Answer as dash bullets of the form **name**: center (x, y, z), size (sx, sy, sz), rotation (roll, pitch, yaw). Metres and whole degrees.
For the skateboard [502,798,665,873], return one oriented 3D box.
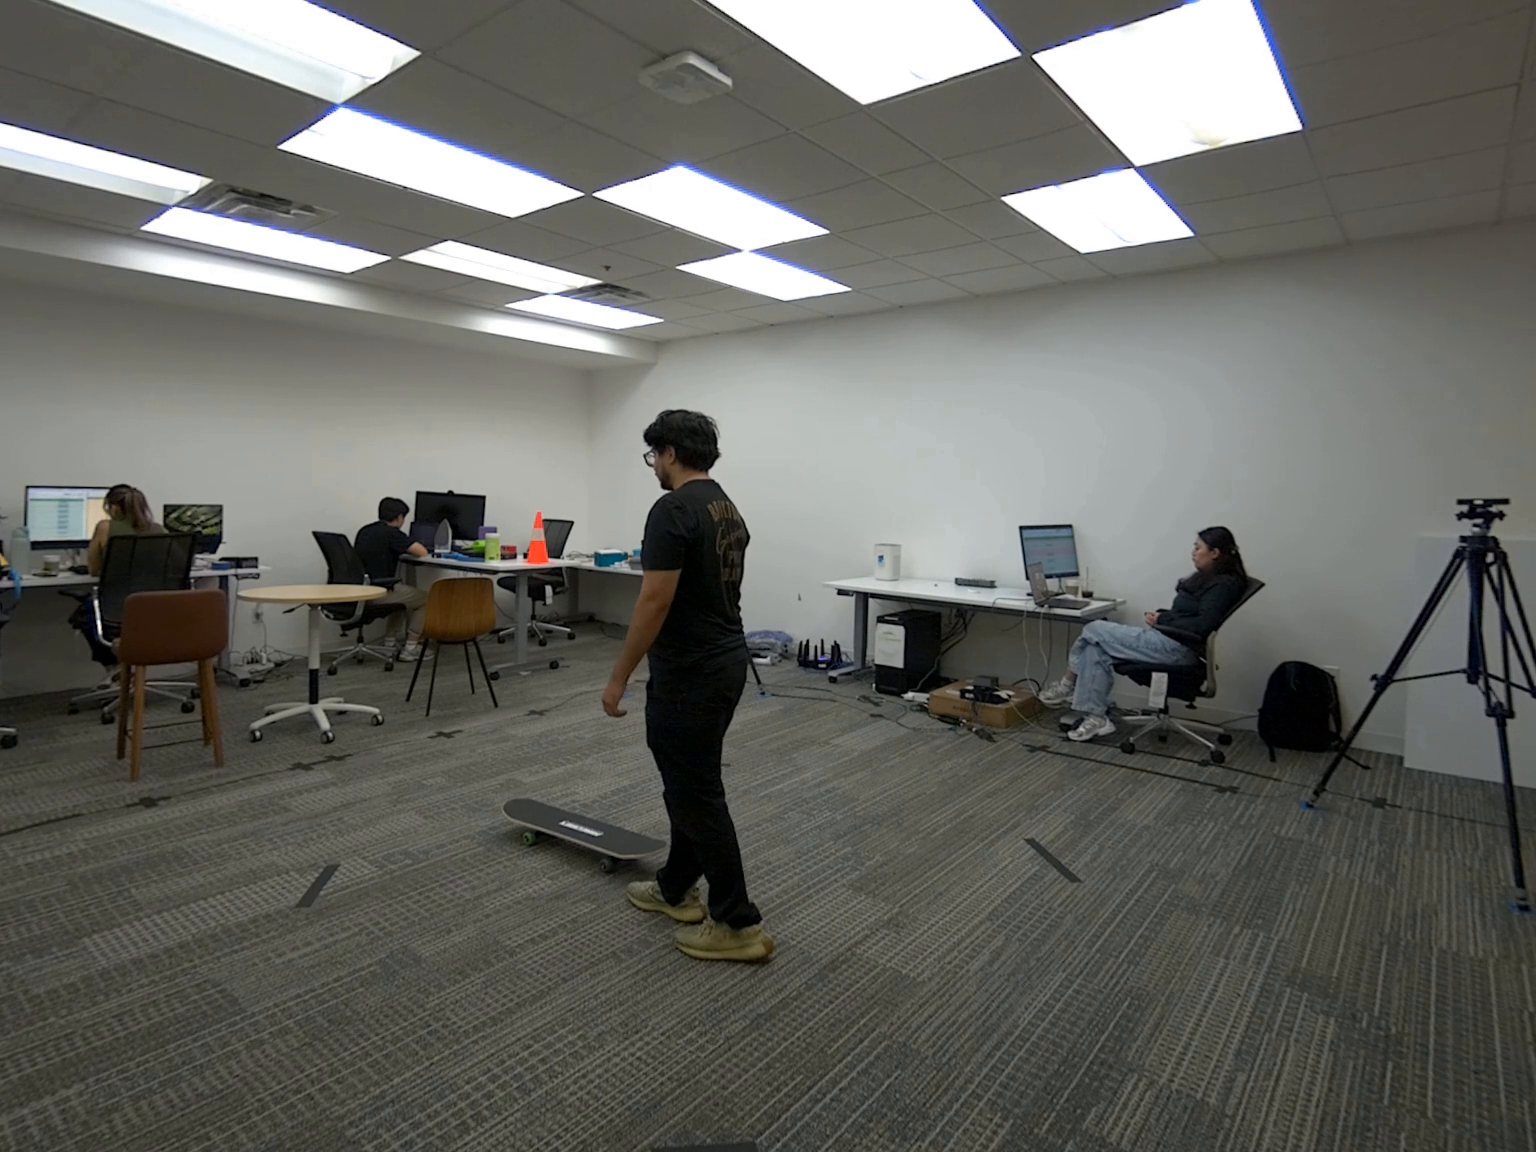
- **skateboard**: center (-0.723, 0.987, 3.244), size (0.810, 0.110, 0.188), rotation (5, 5, 32)
